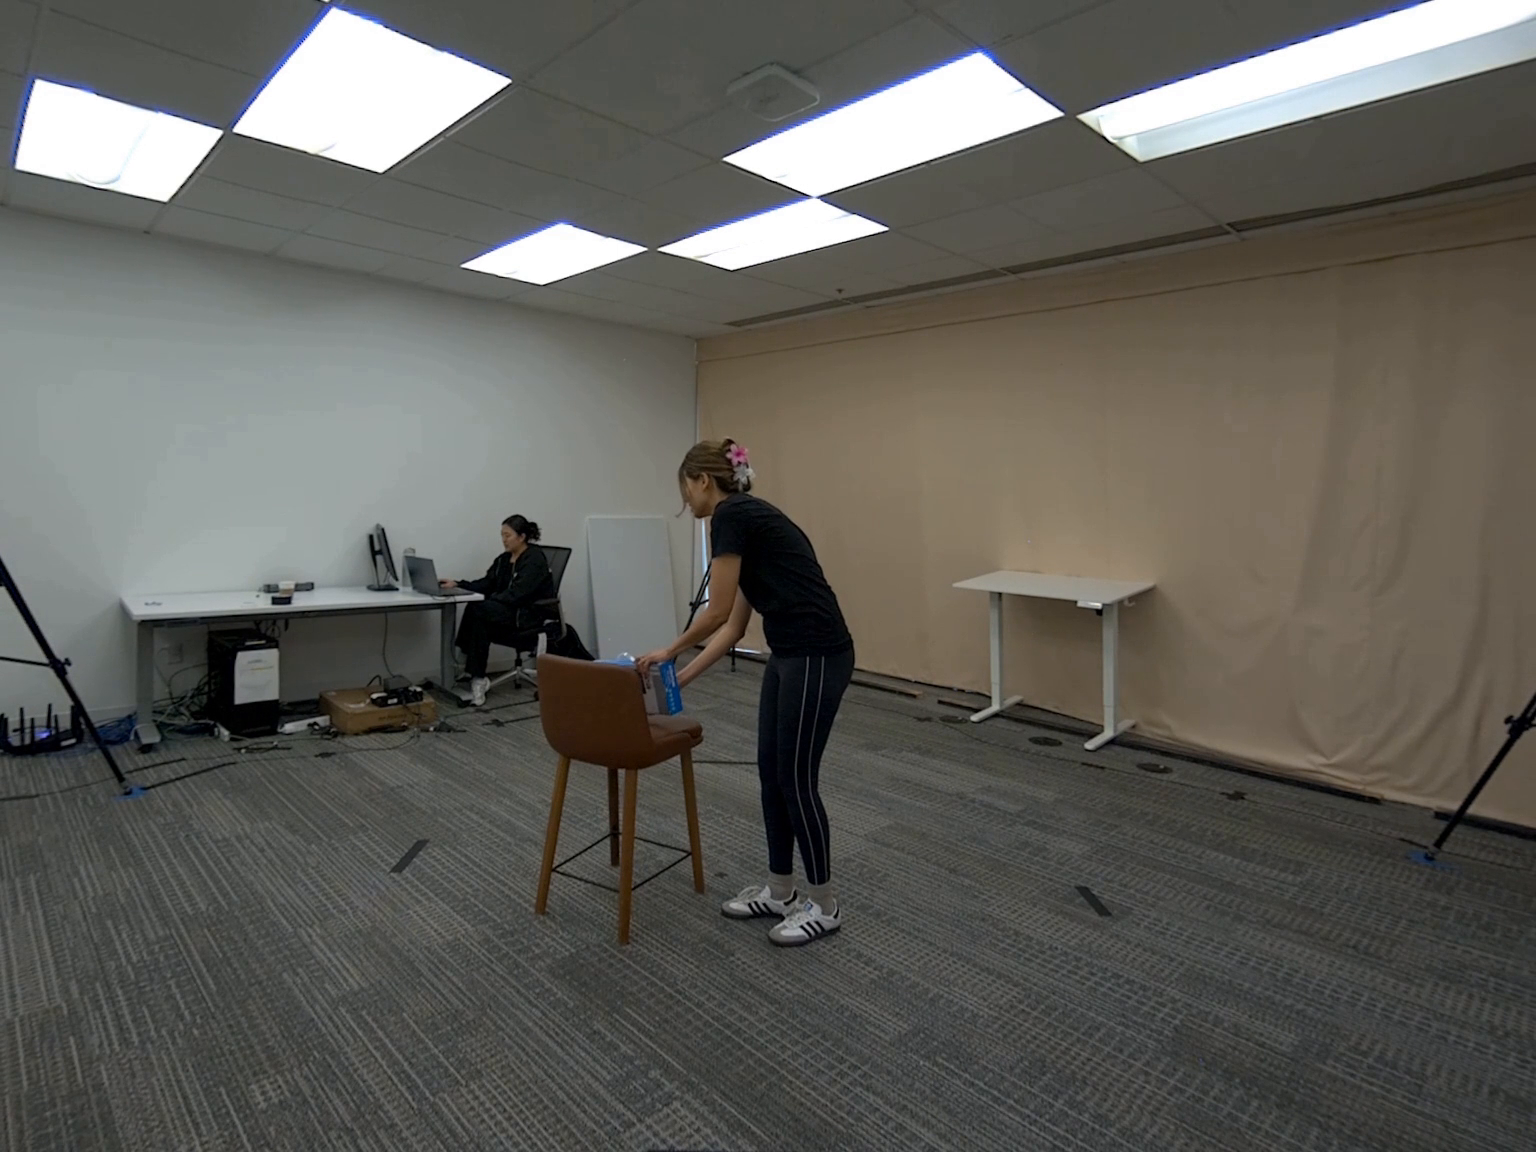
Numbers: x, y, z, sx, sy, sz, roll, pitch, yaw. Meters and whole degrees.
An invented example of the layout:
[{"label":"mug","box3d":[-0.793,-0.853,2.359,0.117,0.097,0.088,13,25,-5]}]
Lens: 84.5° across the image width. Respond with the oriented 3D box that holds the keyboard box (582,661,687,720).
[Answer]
[{"label":"keyboard box","box3d":[-0.469,0.386,2.912,0.446,0.175,0.058,-5,8,43]}]
